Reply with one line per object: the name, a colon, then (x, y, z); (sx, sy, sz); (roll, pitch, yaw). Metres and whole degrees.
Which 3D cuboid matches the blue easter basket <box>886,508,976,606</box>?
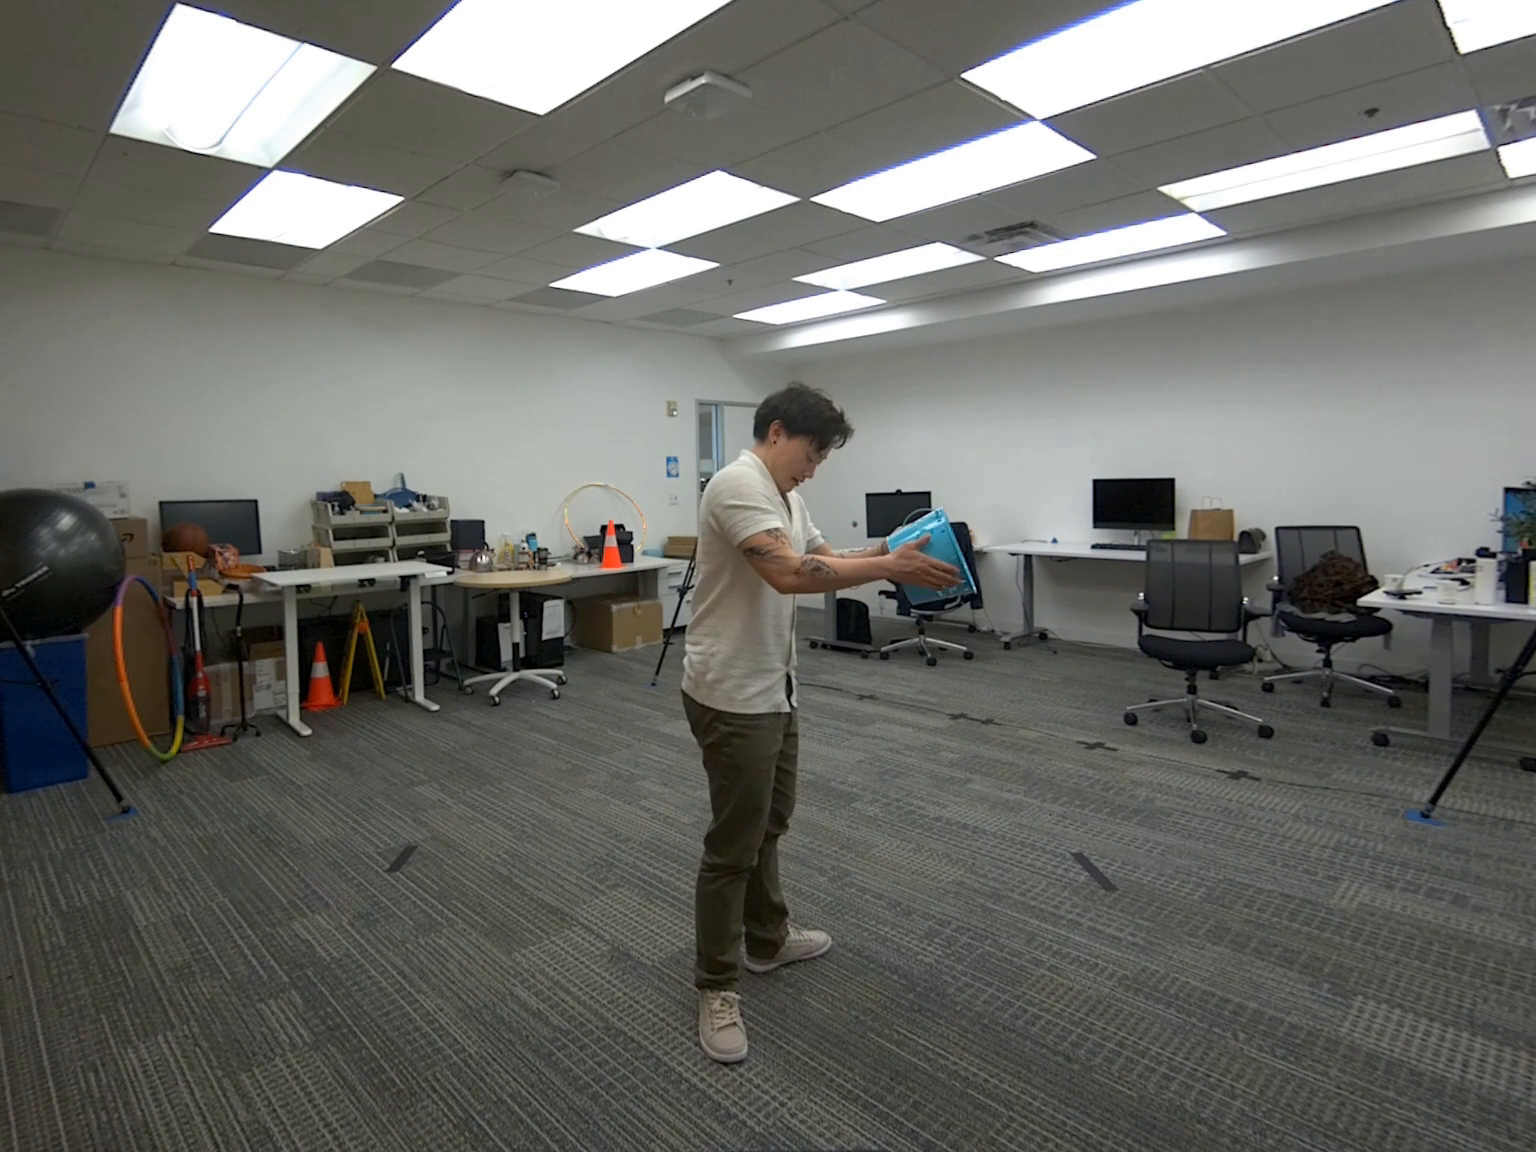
blue easter basket: (0.401, -0.041, 2.107); (0.157, 0.244, 0.241); (-20, 0, 14)
